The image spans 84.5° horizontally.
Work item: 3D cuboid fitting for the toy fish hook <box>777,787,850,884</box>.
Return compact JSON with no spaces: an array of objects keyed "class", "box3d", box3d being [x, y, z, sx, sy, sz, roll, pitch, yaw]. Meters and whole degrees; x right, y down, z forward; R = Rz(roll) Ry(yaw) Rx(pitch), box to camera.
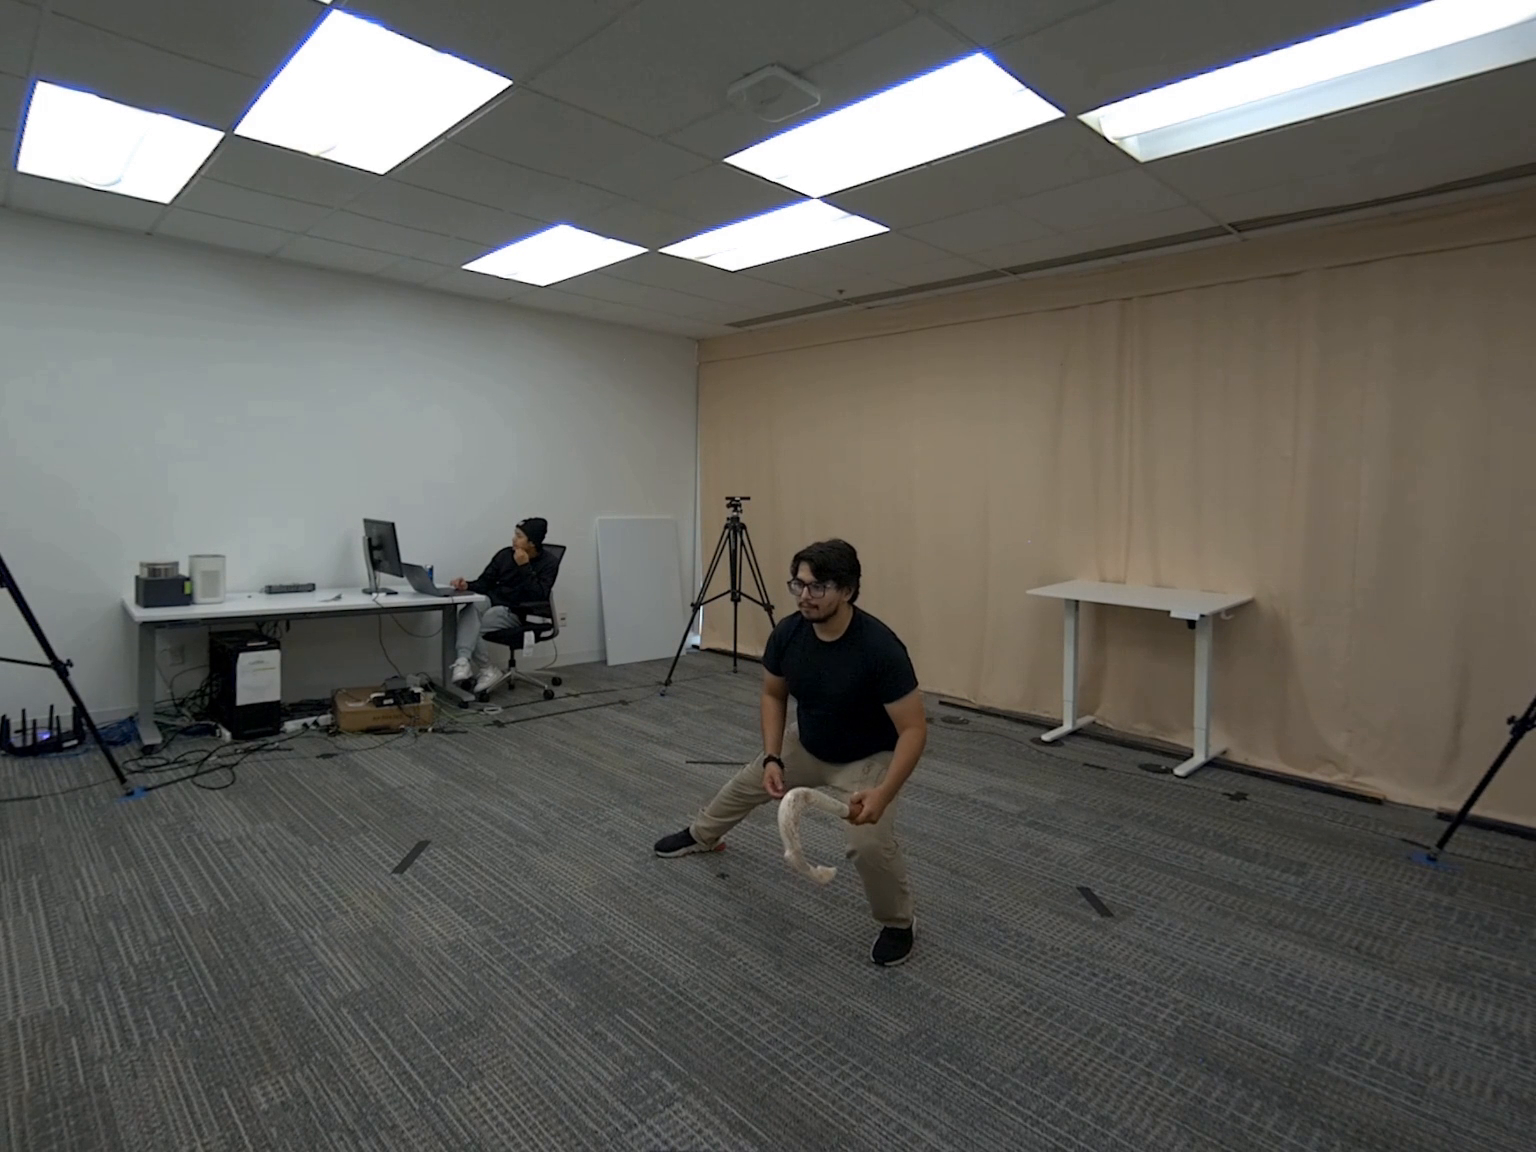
[{"class":"toy fish hook","box3d":[0.165,0.670,2.186,0.049,0.228,0.492,-17,-20,33]}]
